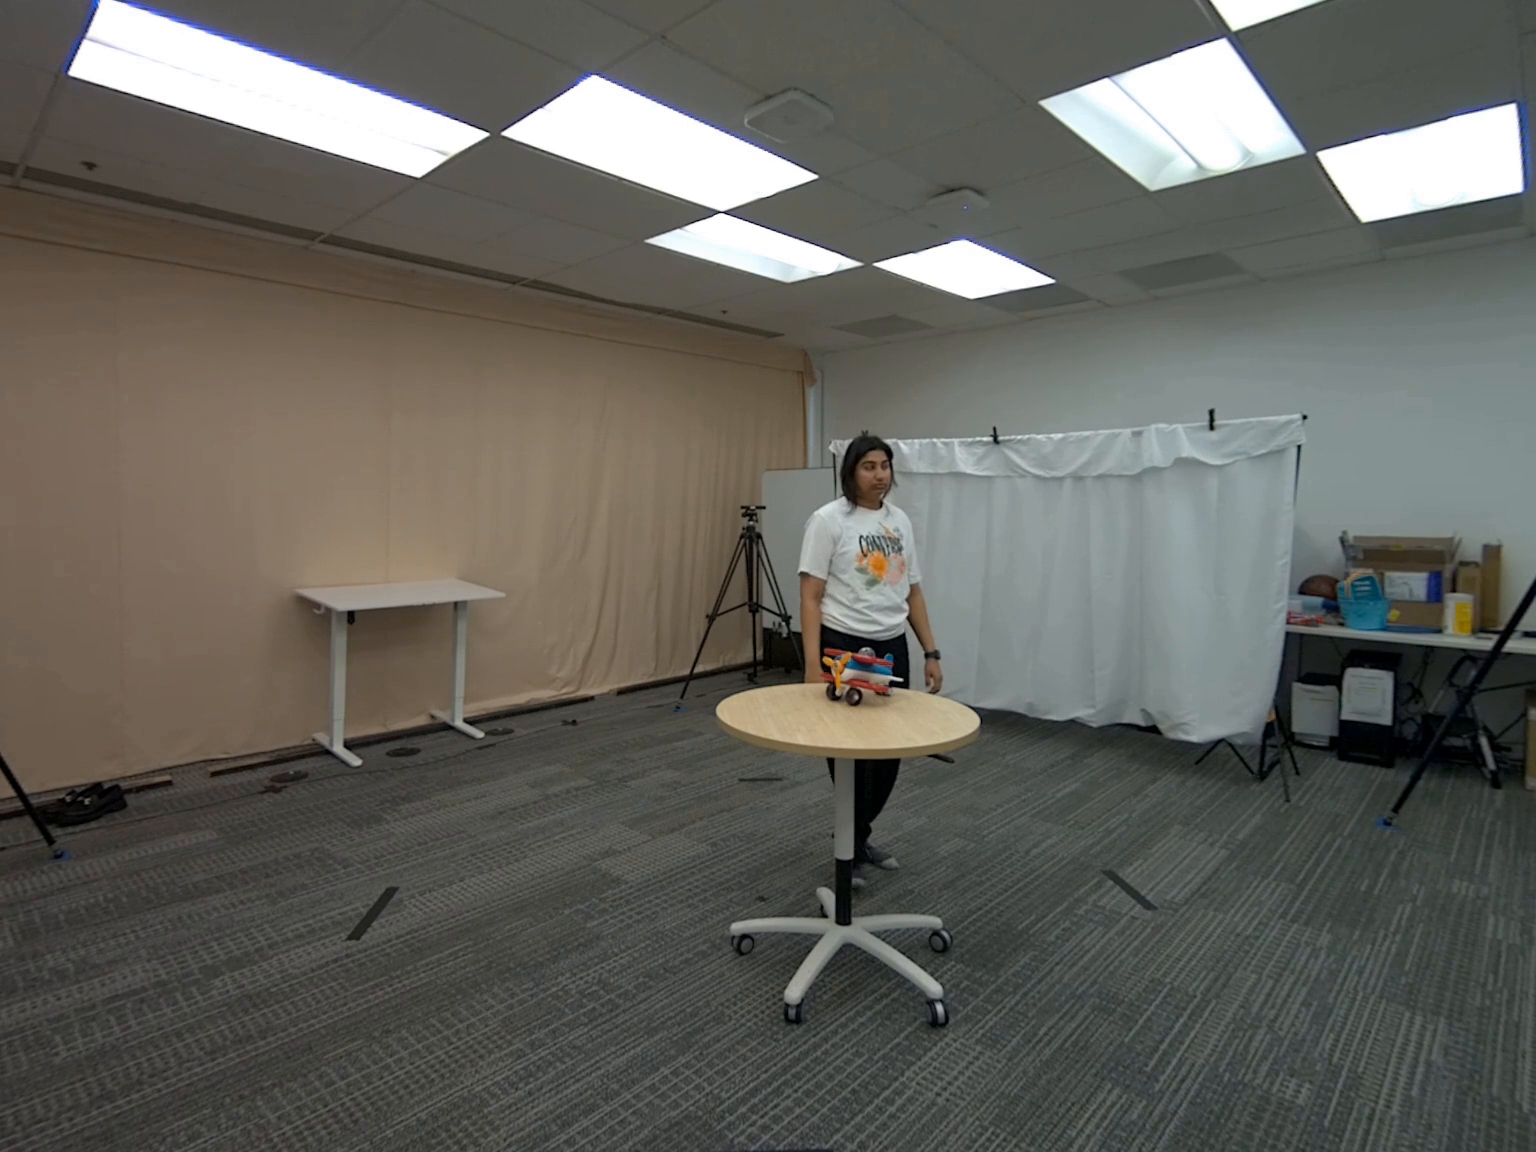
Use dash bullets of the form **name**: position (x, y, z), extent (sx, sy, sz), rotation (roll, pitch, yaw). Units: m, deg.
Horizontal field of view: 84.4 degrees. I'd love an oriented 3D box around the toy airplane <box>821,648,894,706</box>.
- **toy airplane**: position (0.287, 0.307, 2.662), extent (0.257, 0.156, 0.253), rotation (1, 5, 24)
